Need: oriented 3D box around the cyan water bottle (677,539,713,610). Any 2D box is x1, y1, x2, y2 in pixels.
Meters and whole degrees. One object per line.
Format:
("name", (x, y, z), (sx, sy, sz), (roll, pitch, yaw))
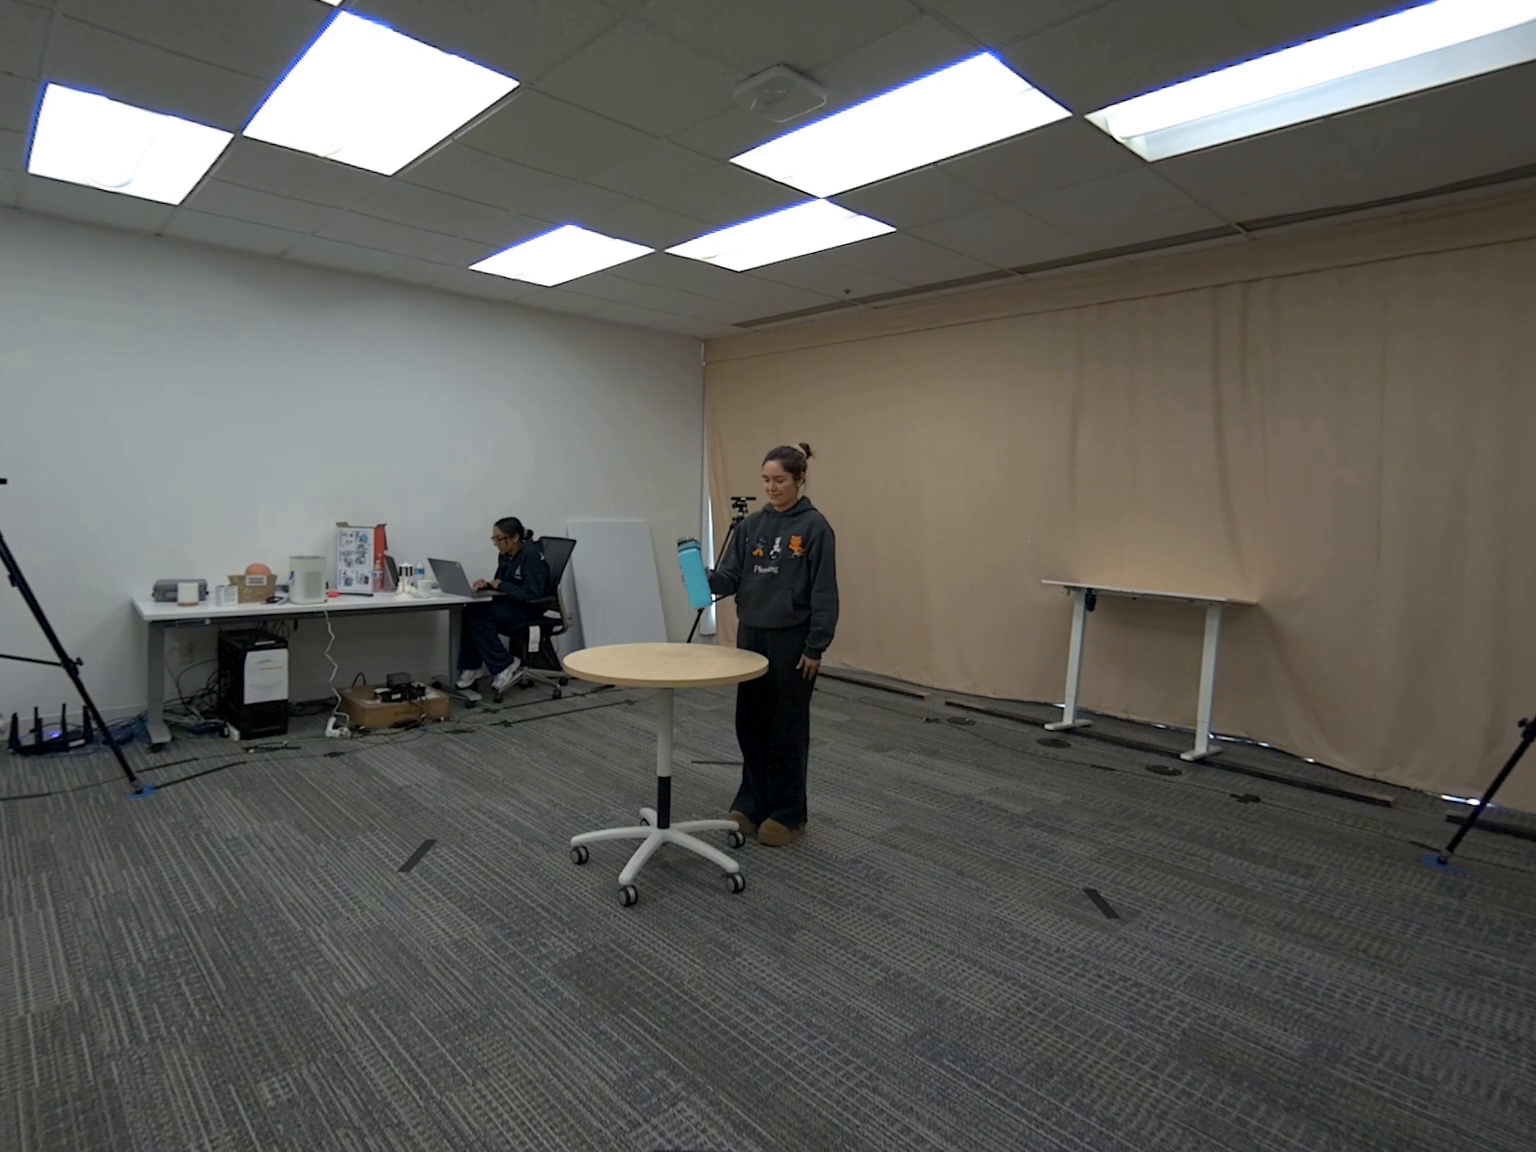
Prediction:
("cyan water bottle", (-0.294, -0.017, 3.278), (0.092, 0.285, 0.092), (-11, -6, -2))
